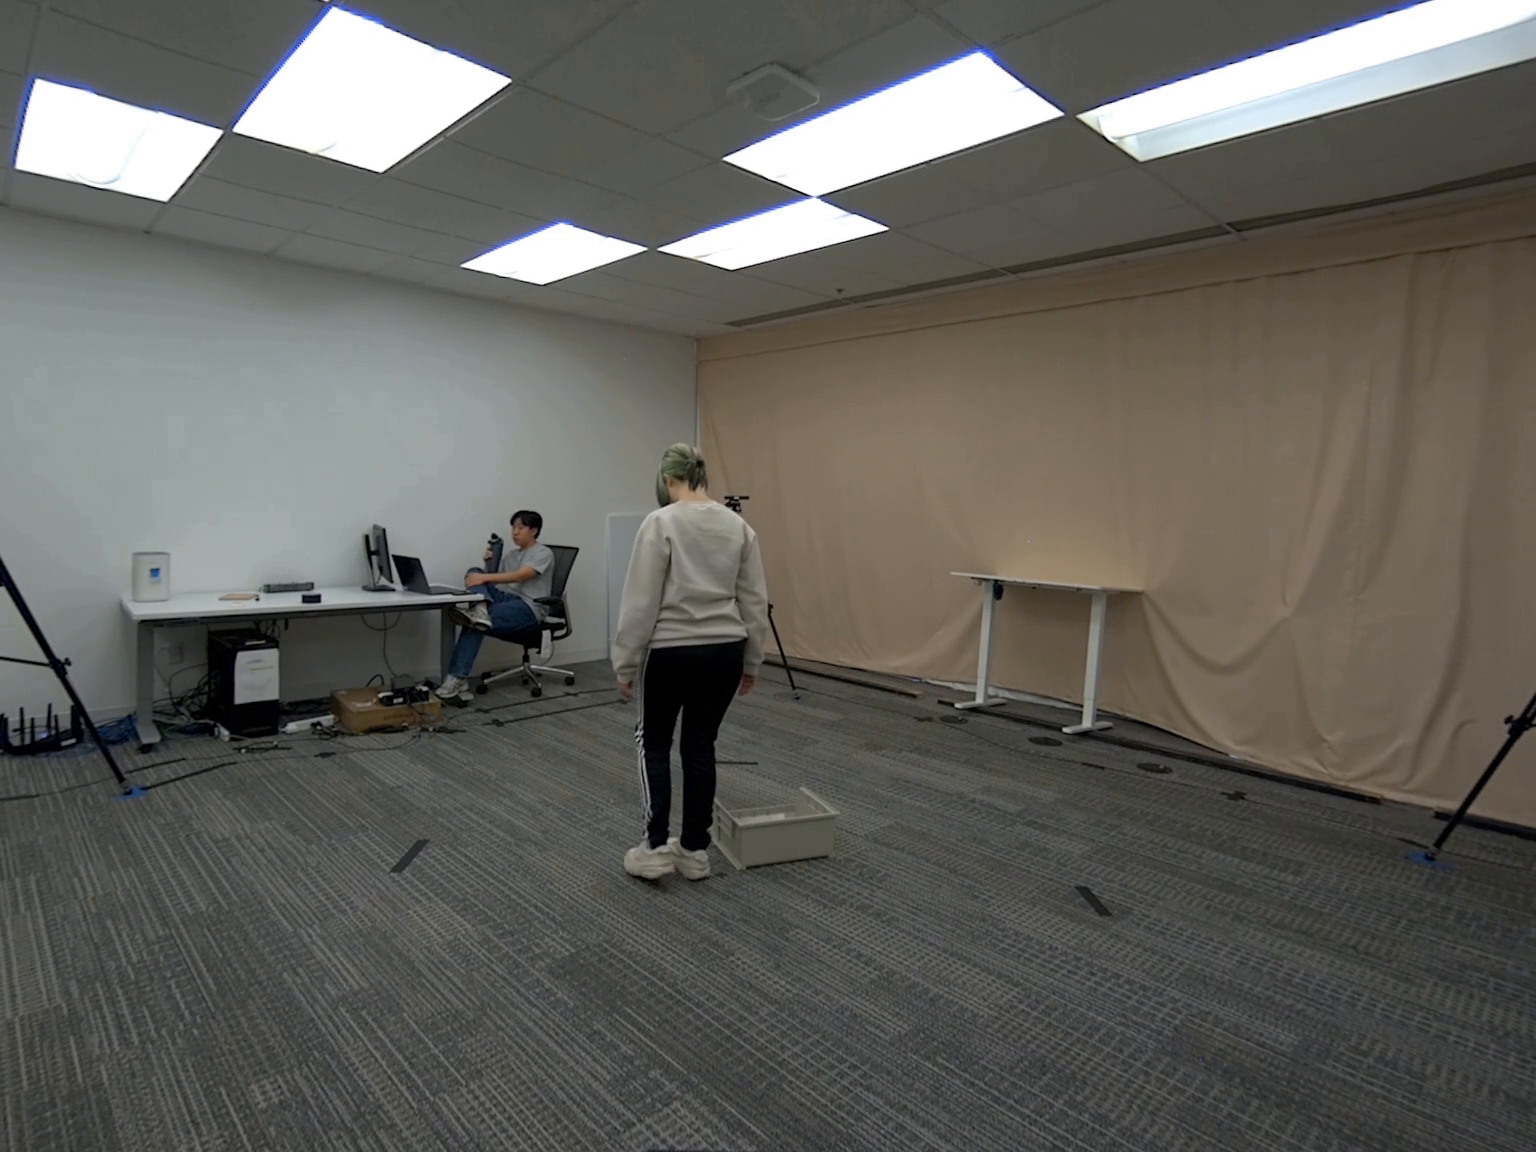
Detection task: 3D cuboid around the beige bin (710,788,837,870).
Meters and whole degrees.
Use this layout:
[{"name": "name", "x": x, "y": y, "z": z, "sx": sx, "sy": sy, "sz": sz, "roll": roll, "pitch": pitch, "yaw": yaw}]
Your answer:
[{"name": "beige bin", "x": 0.003, "y": 0.995, "z": 3.375, "sx": 0.415, "sy": 0.188, "sz": 0.385, "roll": 0, "pitch": 6, "yaw": -22}]
